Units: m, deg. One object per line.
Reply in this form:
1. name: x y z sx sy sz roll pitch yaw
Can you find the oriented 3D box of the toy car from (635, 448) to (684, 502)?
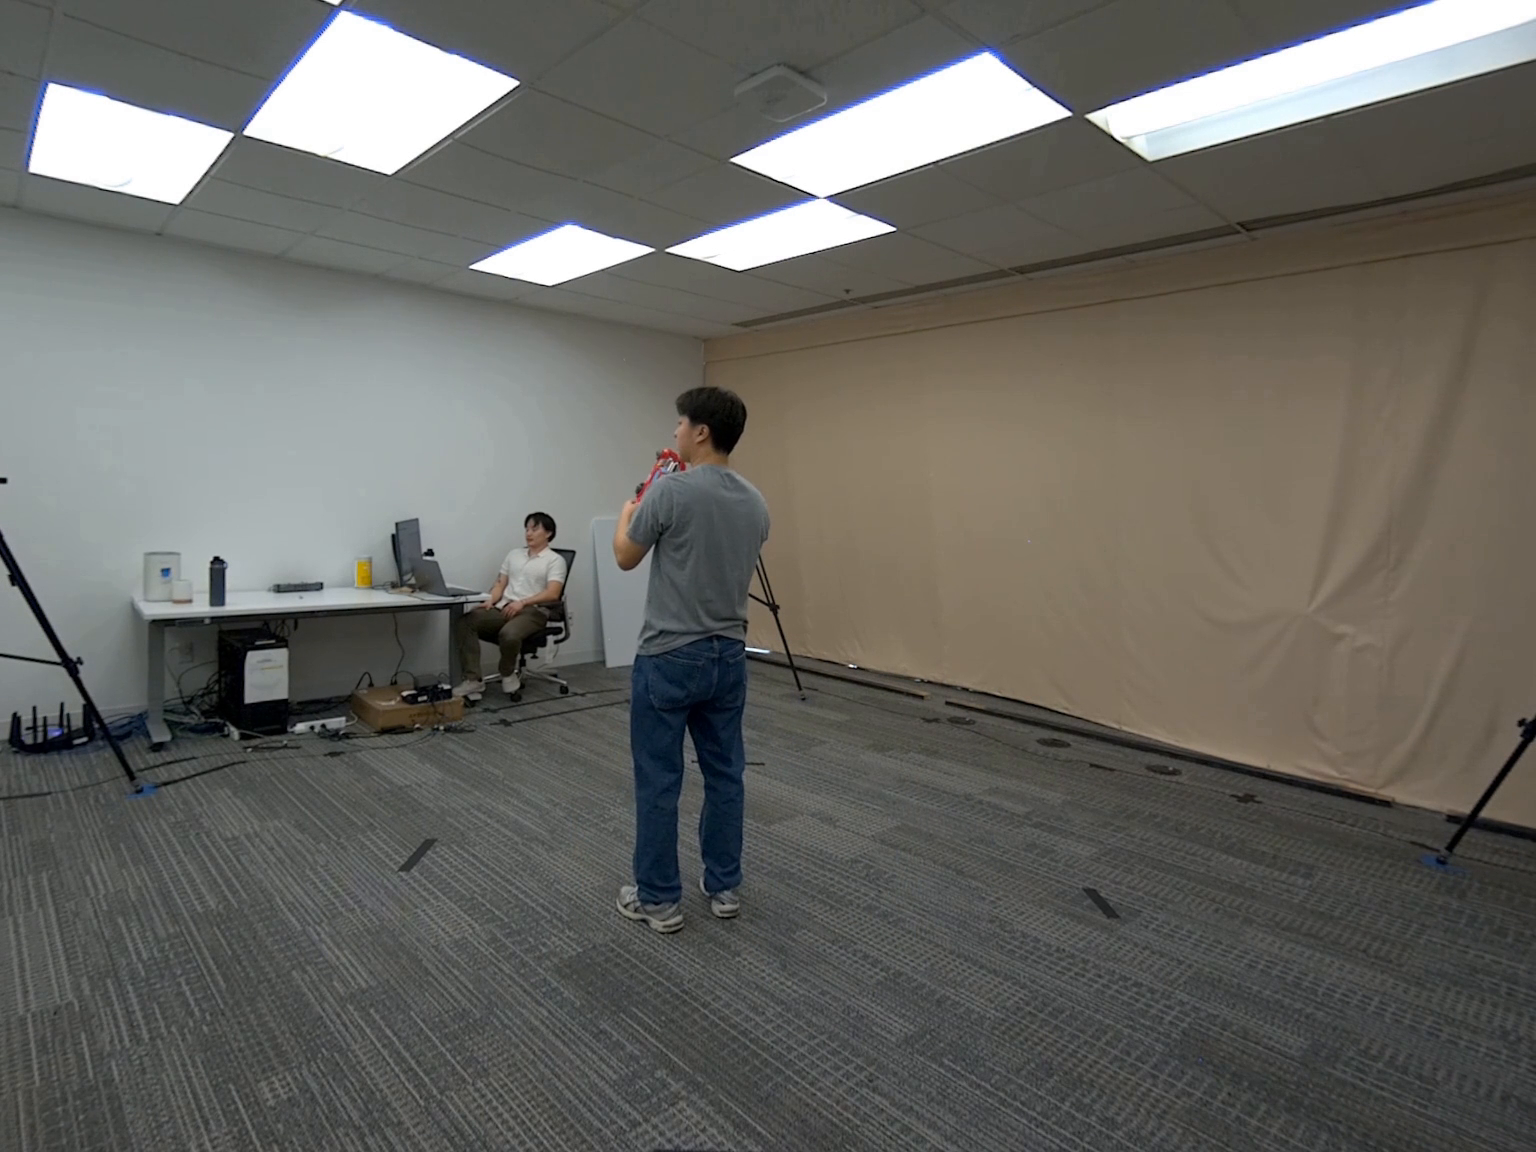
1. toy car: -0.399 -0.332 3.052 0.127 0.256 0.085 31 -20 -31
